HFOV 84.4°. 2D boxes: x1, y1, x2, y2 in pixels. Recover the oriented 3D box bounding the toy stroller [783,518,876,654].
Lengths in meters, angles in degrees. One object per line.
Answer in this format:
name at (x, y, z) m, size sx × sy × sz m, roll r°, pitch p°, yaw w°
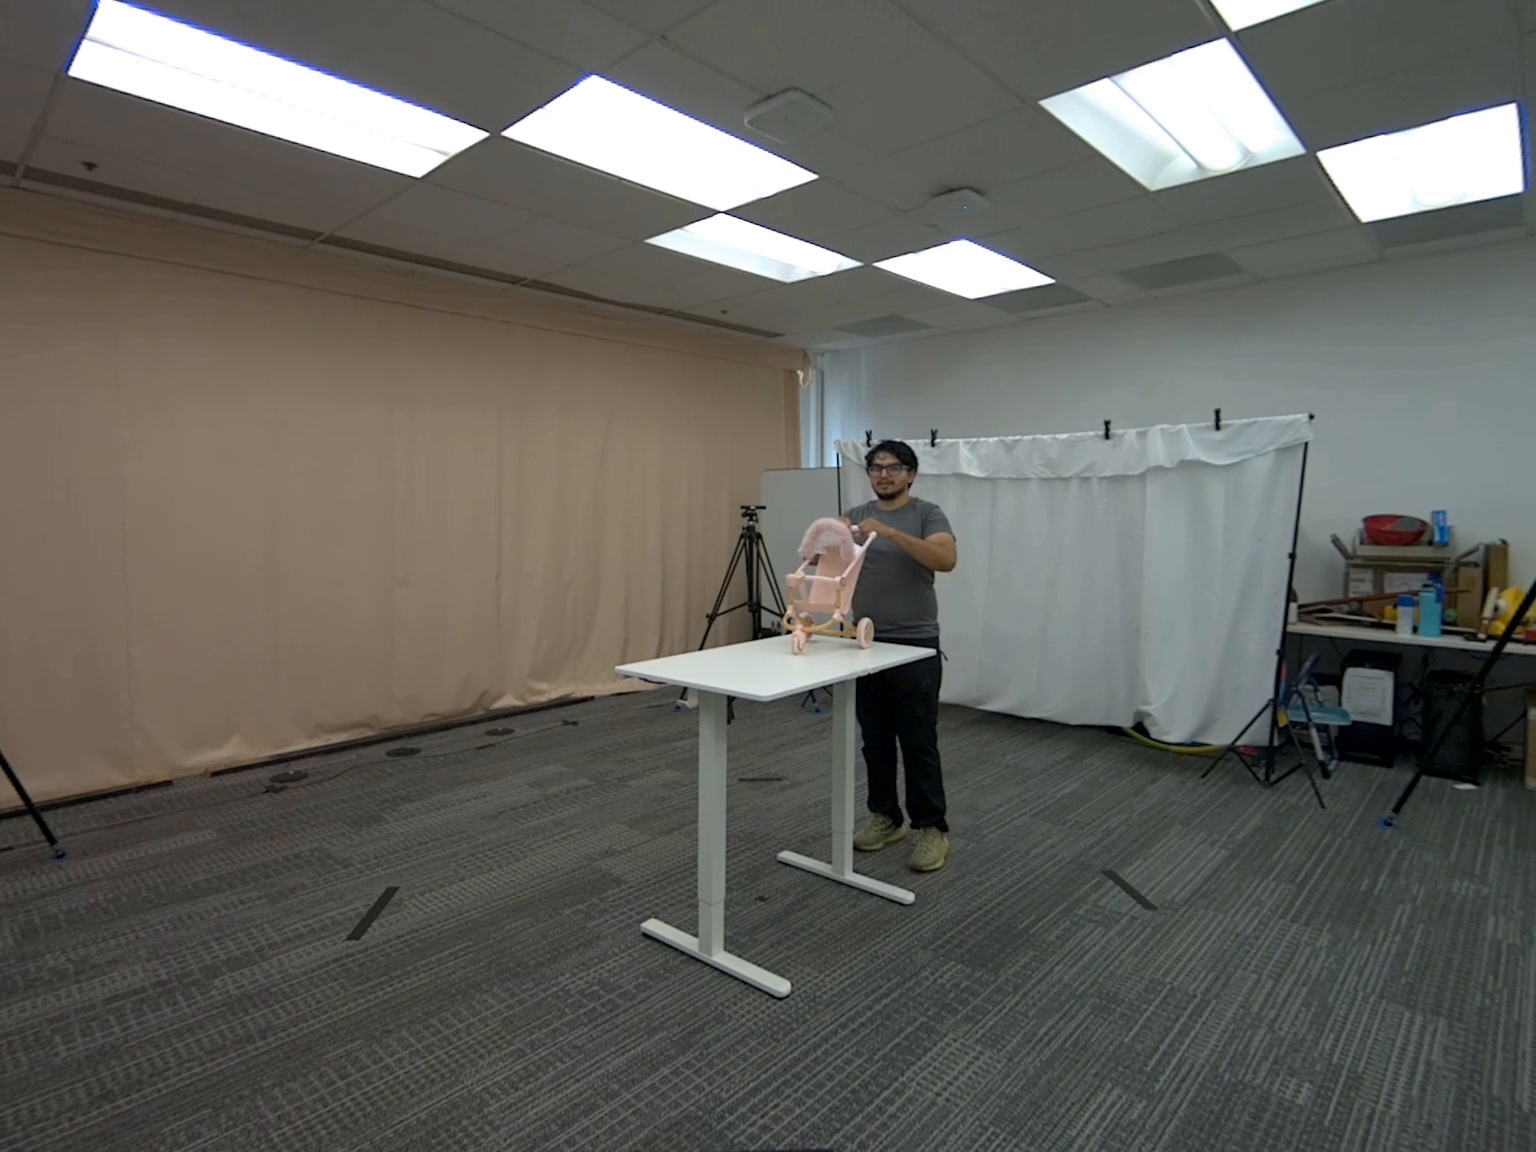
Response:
toy stroller at (0.207, 0.033, 3.022) m, size 0.290 × 0.537 × 0.329 m, roll 2°, pitch -11°, yaw 39°
